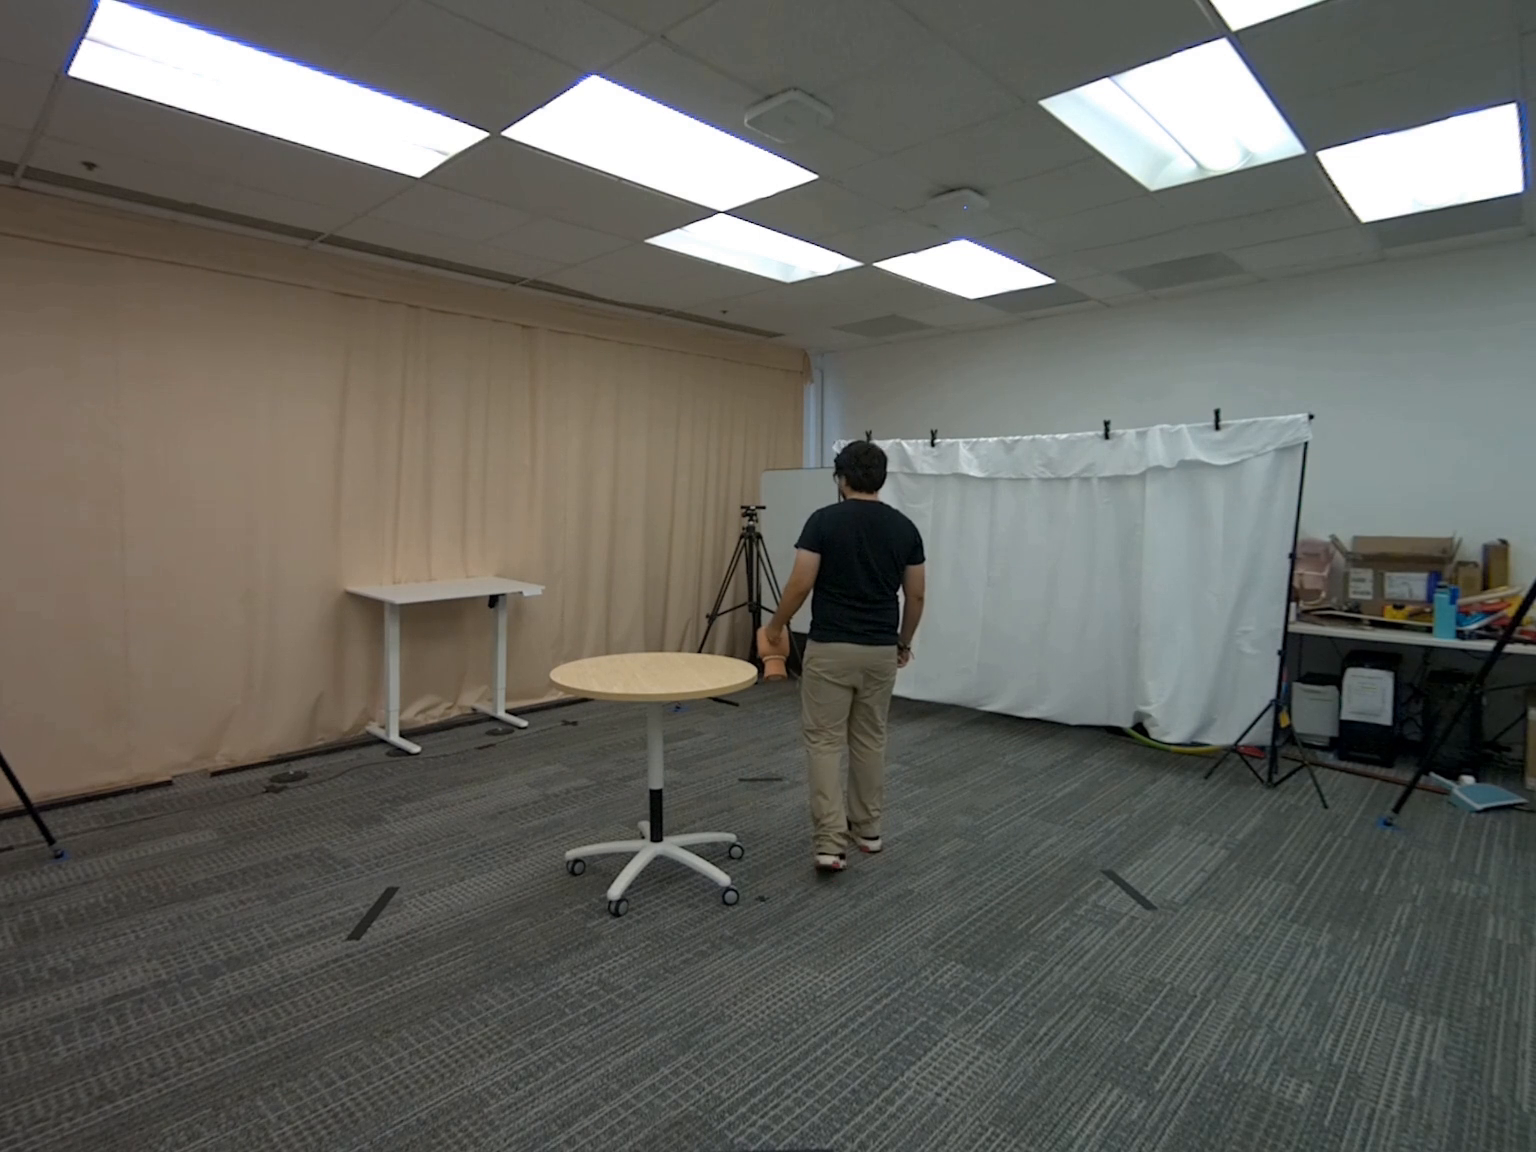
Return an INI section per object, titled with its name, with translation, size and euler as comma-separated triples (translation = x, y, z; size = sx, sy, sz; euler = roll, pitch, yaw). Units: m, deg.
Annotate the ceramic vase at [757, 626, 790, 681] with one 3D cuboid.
[ceramic vase]
translation = 0.029, 0.333, 3.591
size = 0.137, 0.223, 0.153
euler = -26, -35, 36
